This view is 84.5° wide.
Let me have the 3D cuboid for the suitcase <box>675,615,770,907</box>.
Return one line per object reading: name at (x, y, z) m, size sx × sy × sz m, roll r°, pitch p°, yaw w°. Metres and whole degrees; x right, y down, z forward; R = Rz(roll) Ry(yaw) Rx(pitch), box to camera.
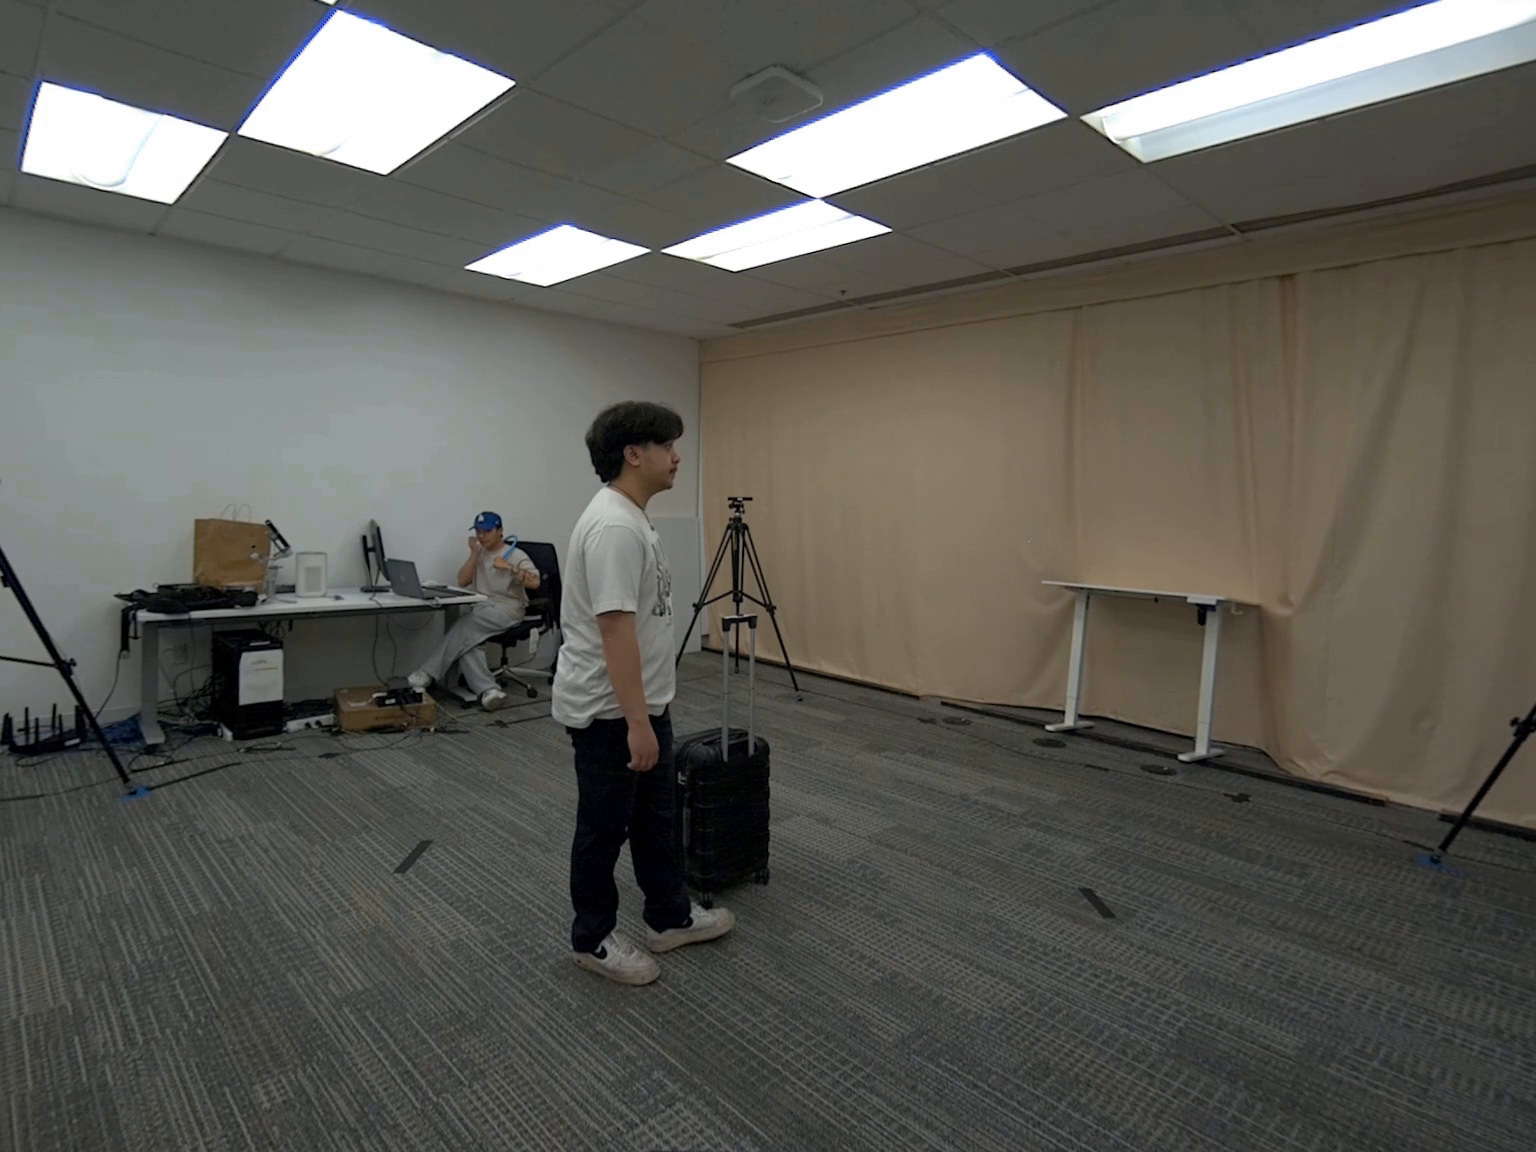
suitcase at (-0.193, 0.634, 3.033) m, size 0.375 × 0.978 × 0.263 m, roll -1°, pitch 1°, yaw -44°
